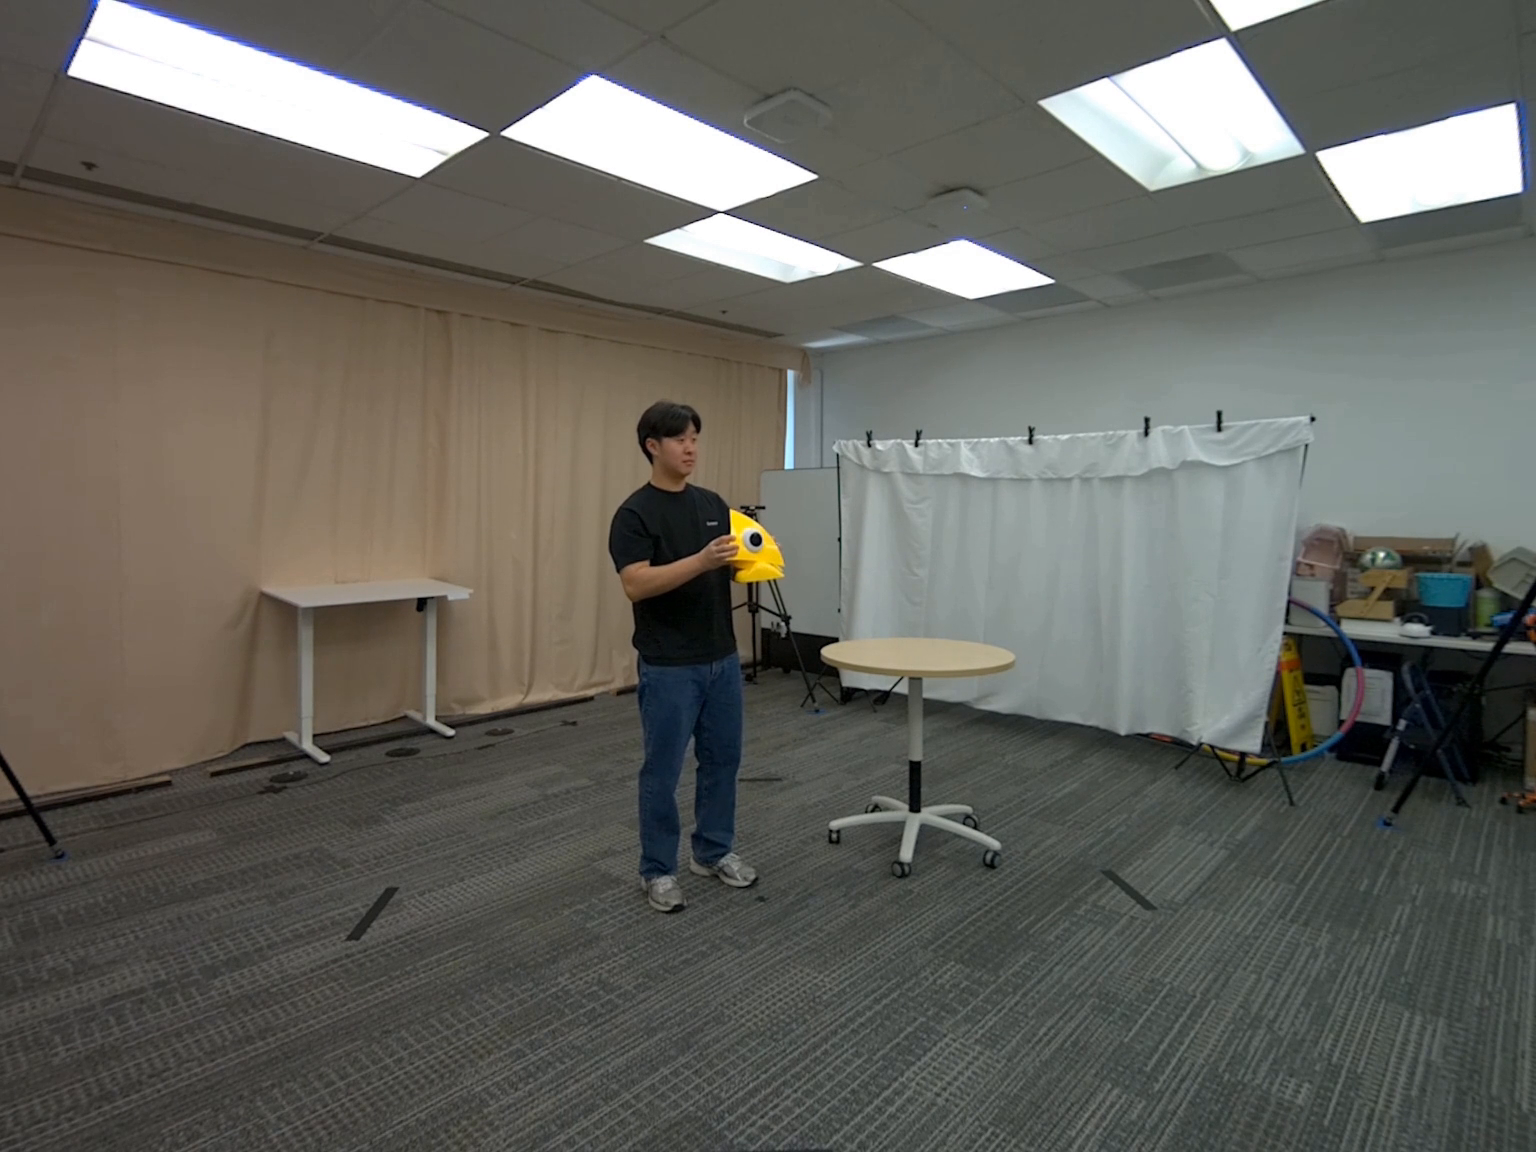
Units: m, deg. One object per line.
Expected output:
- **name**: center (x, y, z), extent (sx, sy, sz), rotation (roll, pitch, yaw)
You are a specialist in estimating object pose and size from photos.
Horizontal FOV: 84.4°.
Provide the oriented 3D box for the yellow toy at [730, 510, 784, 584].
- **yellow toy**: center (-0.051, -0.110, 2.765), extent (0.193, 0.230, 0.205), rotation (-6, 6, 0)
